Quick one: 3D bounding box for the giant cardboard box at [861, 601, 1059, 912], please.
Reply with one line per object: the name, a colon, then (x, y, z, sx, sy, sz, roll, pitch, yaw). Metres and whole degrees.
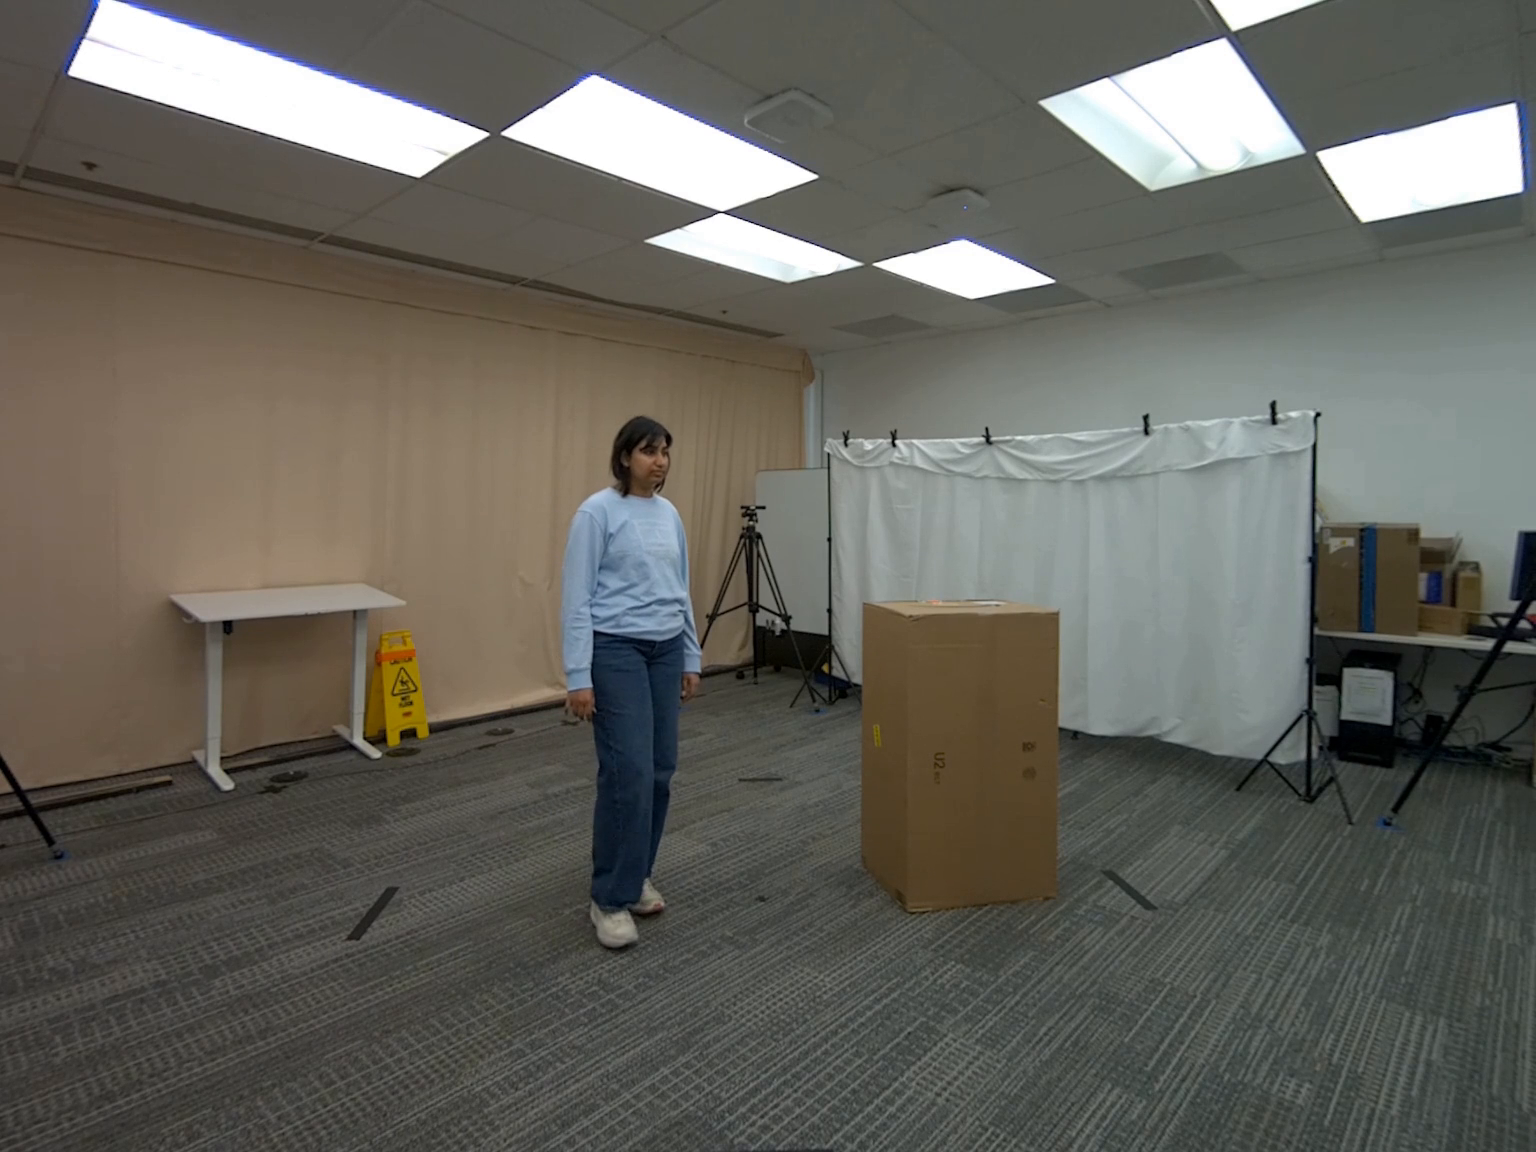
giant cardboard box: (0.704, 0.624, 3.117, 0.569, 1.024, 0.433, 0, 3, -14)
